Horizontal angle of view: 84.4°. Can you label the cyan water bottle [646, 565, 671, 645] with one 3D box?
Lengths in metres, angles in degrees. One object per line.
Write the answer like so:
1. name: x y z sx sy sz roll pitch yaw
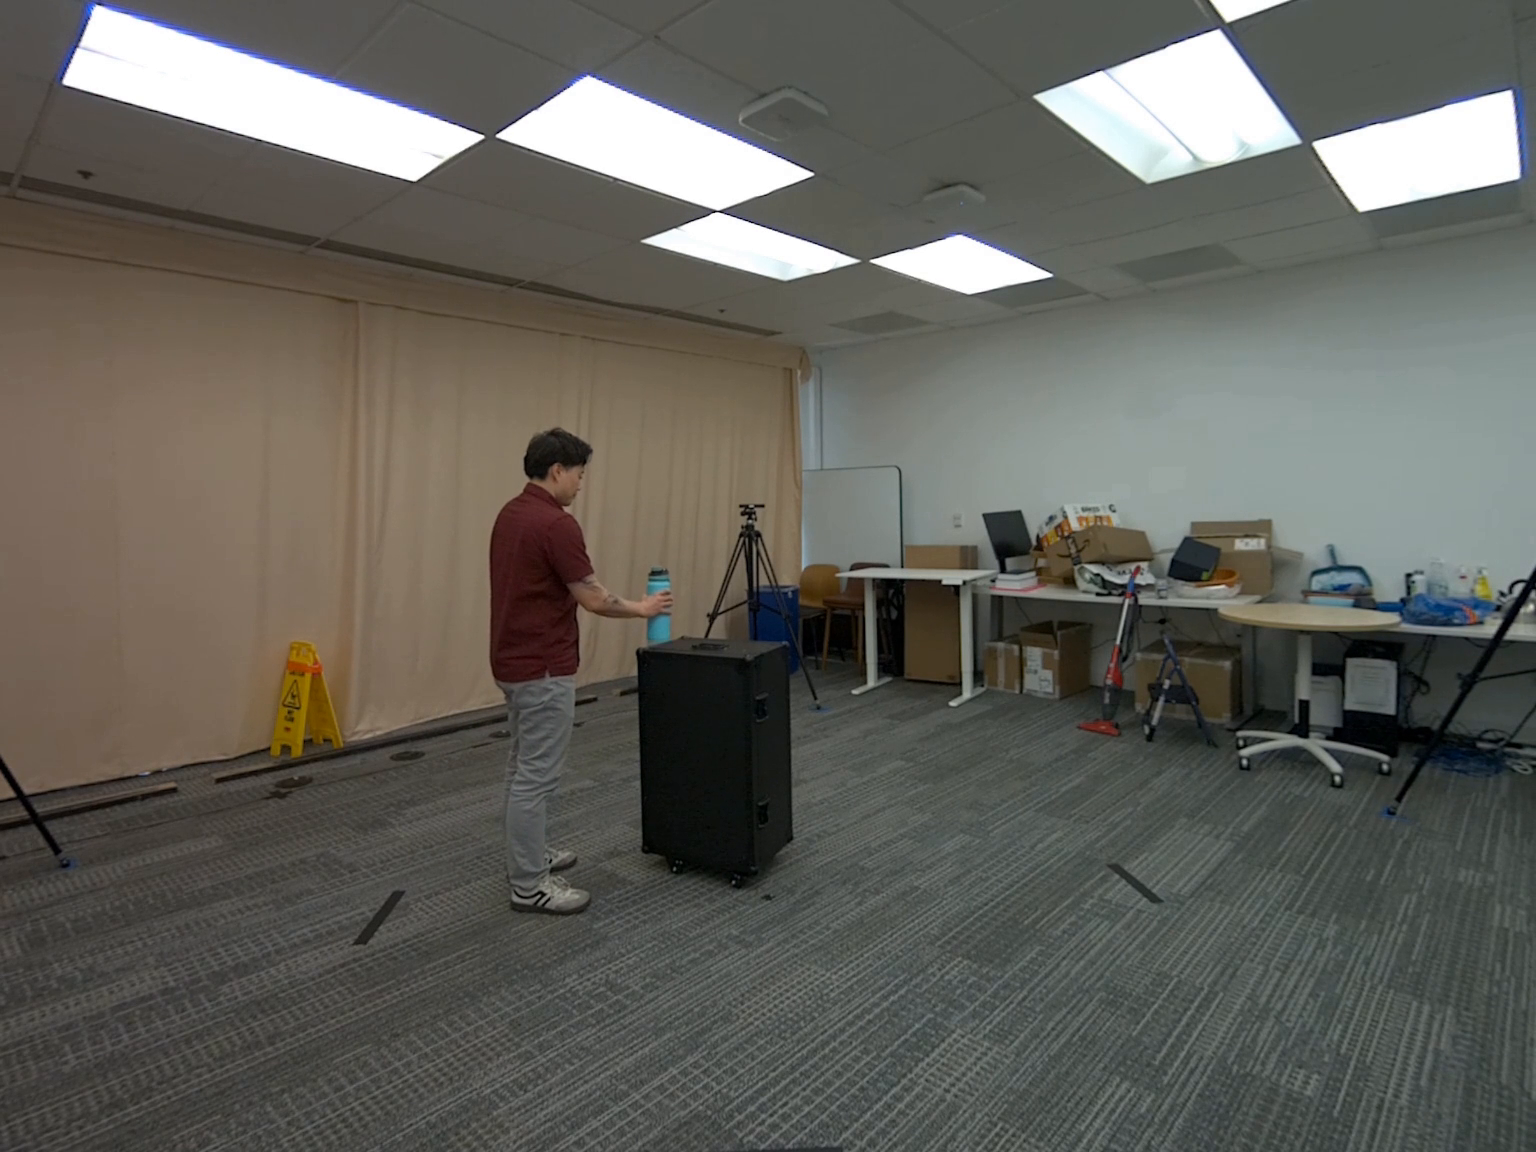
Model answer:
1. cyan water bottle: -0.419 0.103 3.187 0.092 0.283 0.092 3 1 -2
